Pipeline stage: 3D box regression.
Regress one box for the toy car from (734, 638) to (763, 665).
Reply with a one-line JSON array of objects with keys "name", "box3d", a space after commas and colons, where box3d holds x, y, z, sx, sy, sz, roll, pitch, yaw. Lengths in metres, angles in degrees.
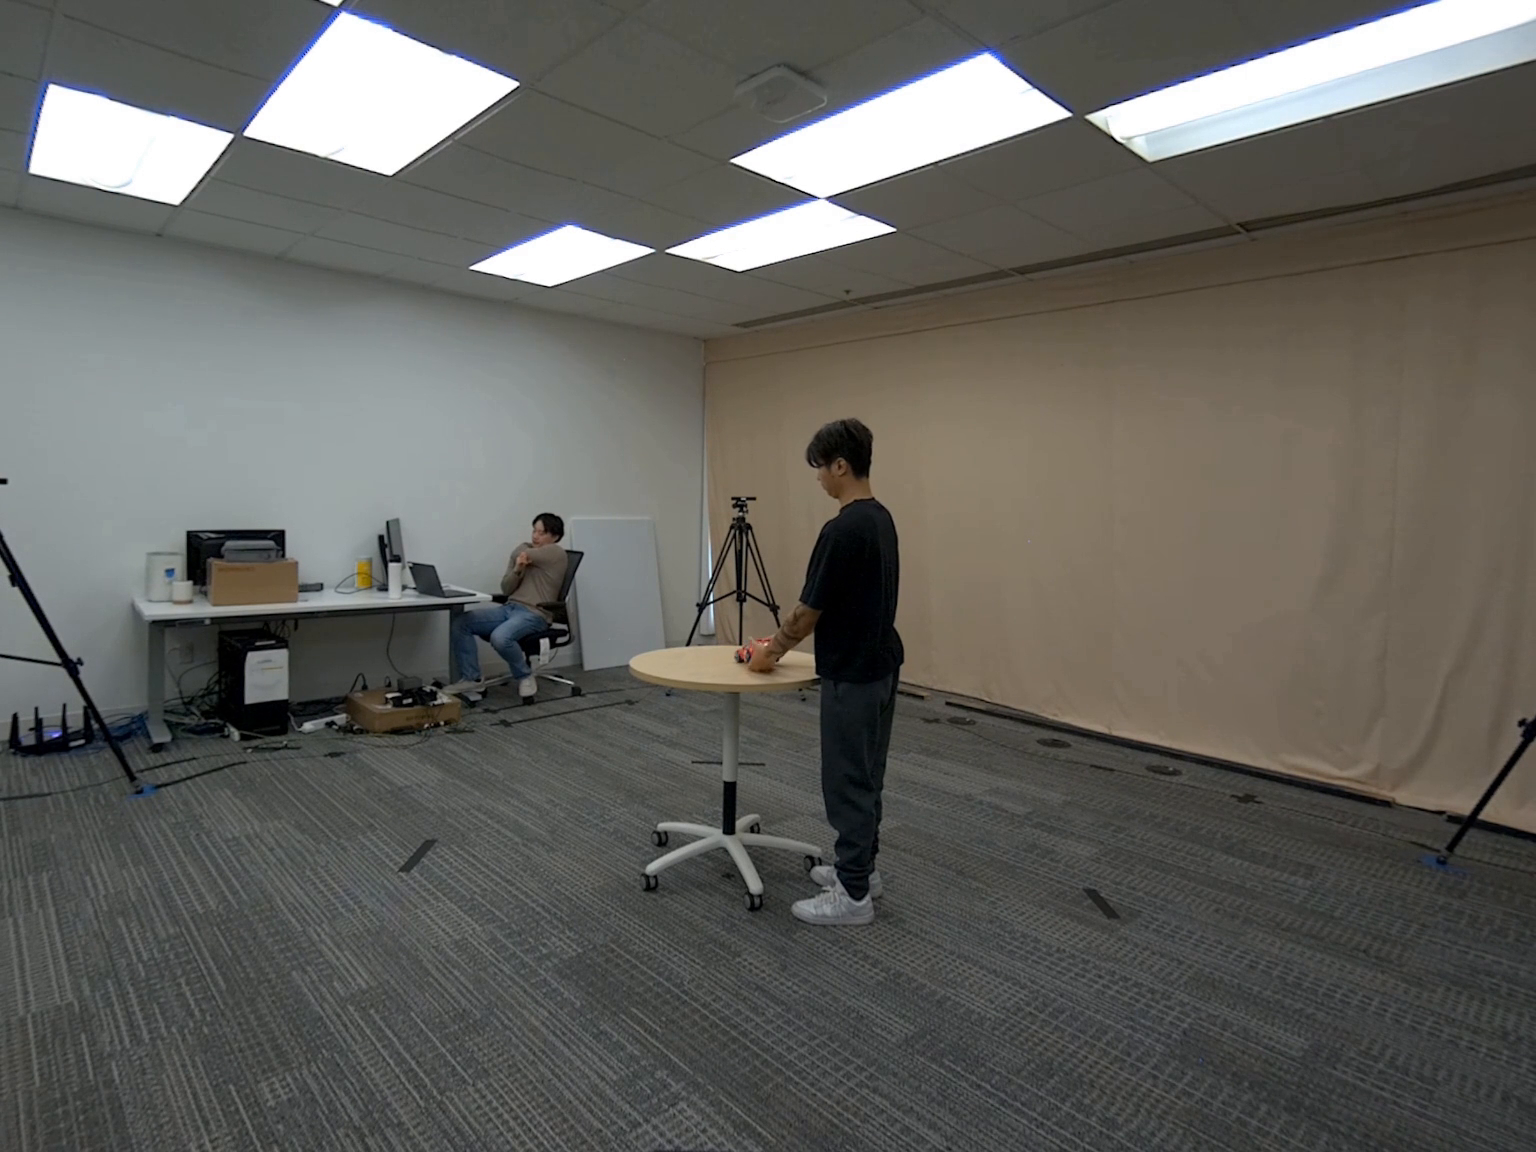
[{"name": "toy car", "box3d": [-0.038, 0.283, 3.052, 0.129, 0.084, 0.254, -1, -14, -15]}]
